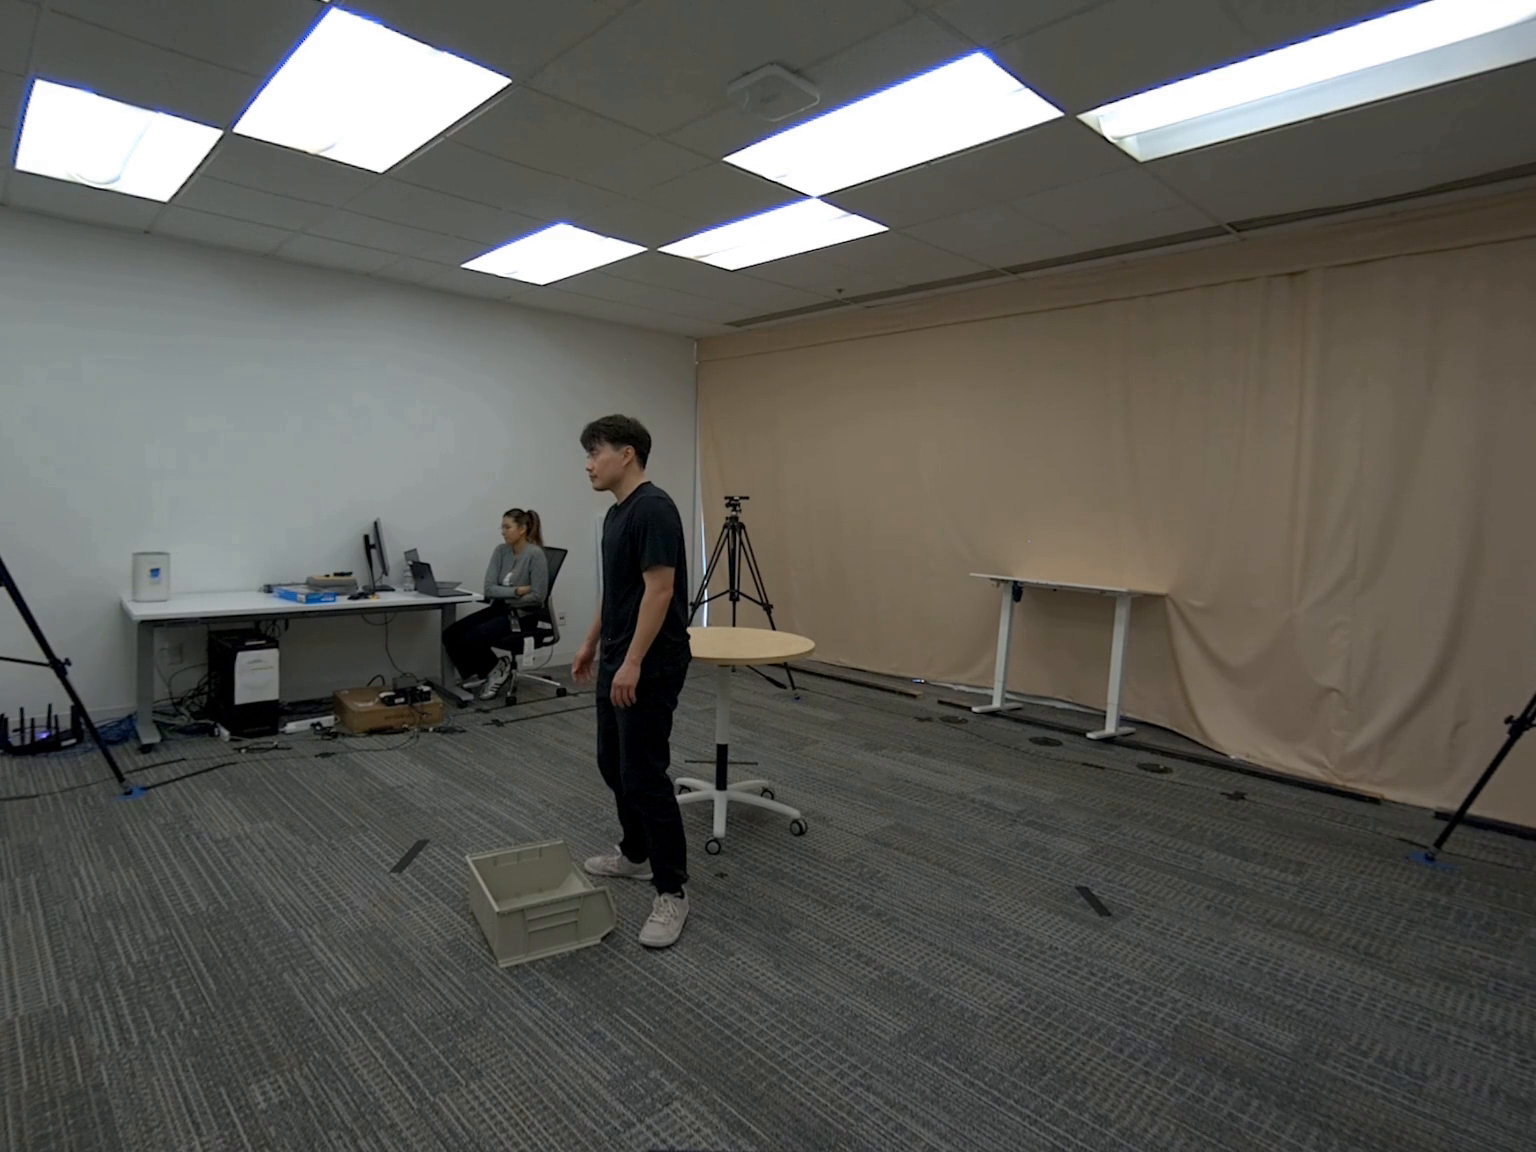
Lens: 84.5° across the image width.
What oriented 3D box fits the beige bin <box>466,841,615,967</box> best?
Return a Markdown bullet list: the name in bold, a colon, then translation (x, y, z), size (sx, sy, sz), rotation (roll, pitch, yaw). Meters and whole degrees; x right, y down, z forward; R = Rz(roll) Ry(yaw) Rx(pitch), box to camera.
- **beige bin**: translation (-0.741, 1.036, 2.714), size (0.370, 0.188, 0.432), rotation (-2, 6, -31)
